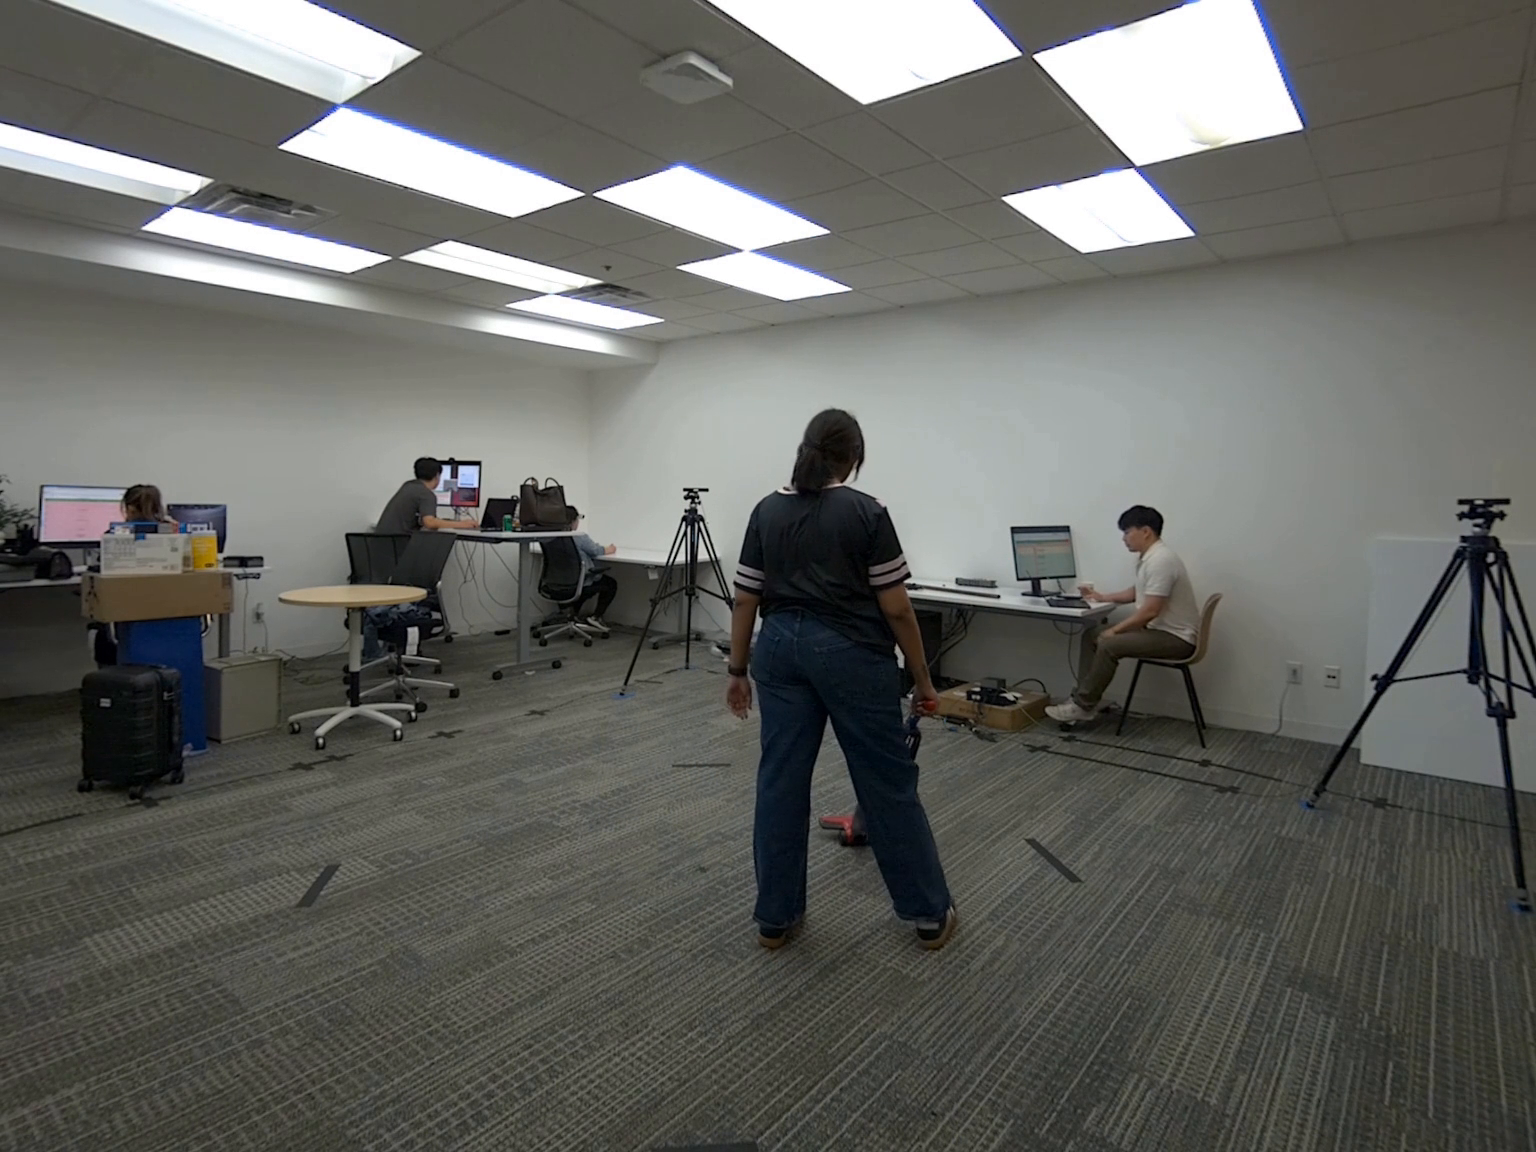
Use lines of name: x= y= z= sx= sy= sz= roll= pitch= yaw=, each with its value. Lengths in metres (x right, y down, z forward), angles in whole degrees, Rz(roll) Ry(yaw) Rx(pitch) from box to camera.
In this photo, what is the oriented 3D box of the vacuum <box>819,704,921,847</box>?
vacuum: x=0.407 y=0.712 z=3.015 sx=0.250 sy=0.148 sz=1.026 roll=-1 pitch=-37 yaw=-11
